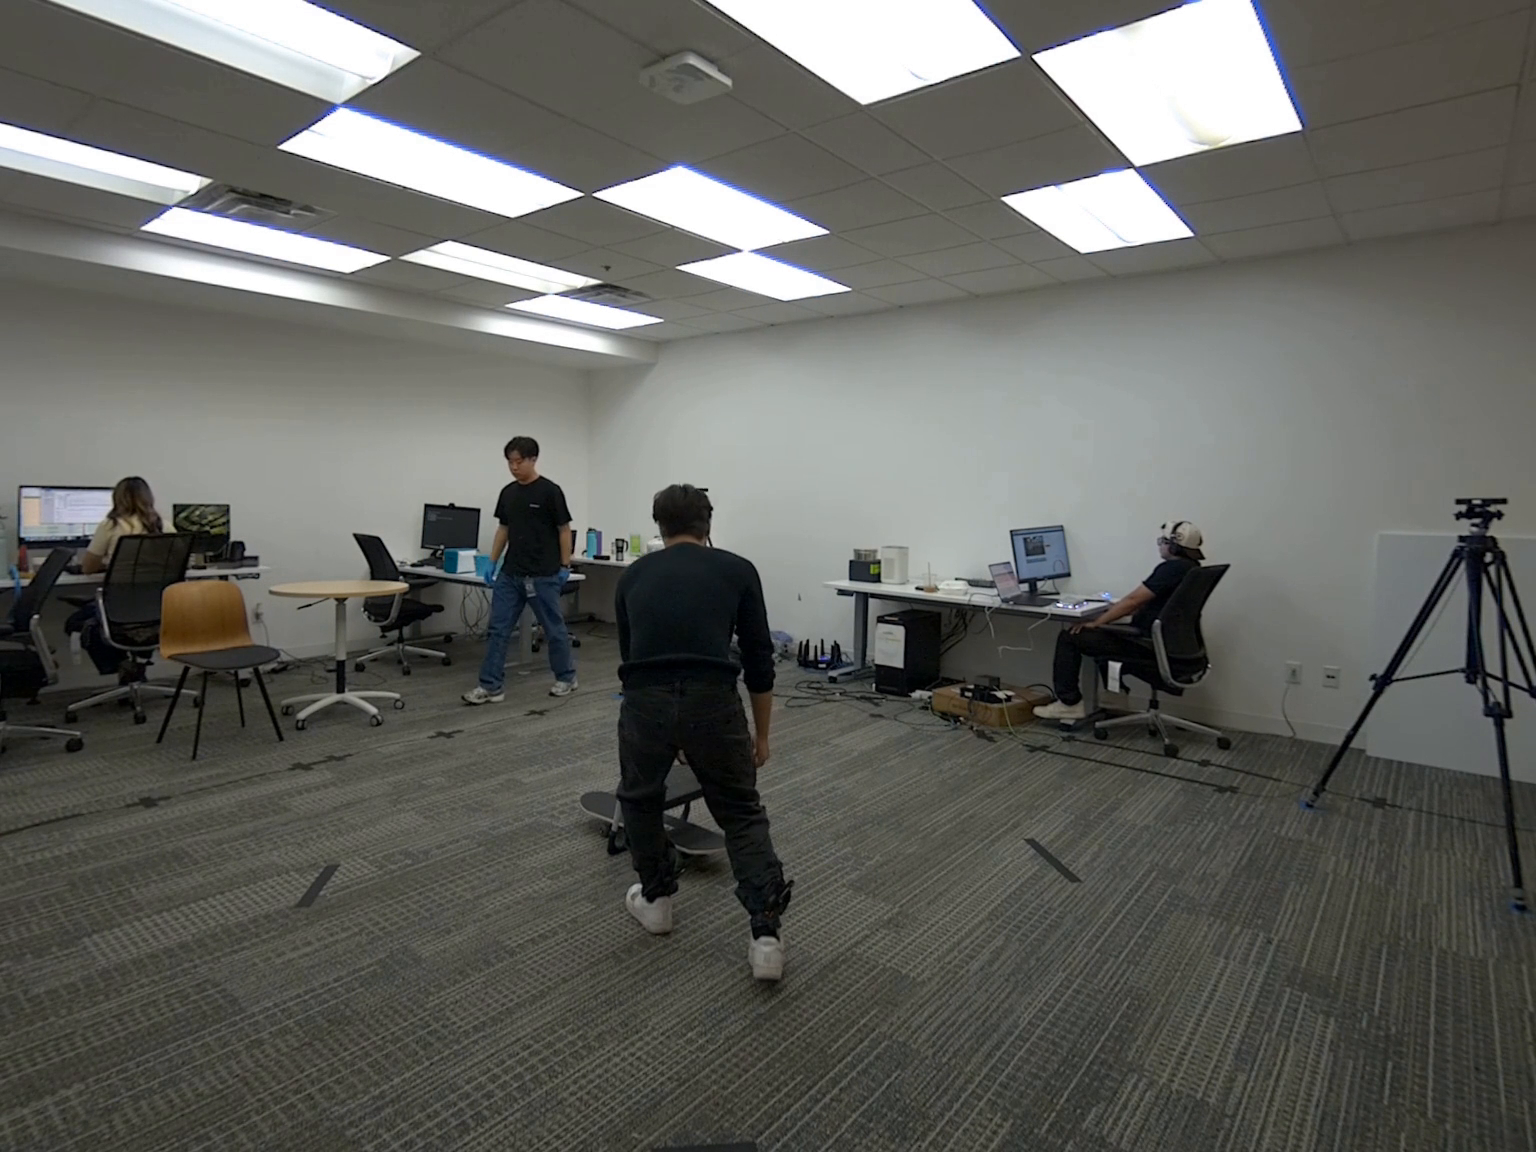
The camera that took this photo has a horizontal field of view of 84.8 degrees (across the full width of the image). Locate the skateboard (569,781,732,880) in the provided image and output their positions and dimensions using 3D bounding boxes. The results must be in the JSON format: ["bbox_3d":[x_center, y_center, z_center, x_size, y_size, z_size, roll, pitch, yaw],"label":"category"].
[{"bbox_3d":[-0.457,0.981,3.307,0.812,0.110,0.188,6,6,40],"label":"skateboard"}]
